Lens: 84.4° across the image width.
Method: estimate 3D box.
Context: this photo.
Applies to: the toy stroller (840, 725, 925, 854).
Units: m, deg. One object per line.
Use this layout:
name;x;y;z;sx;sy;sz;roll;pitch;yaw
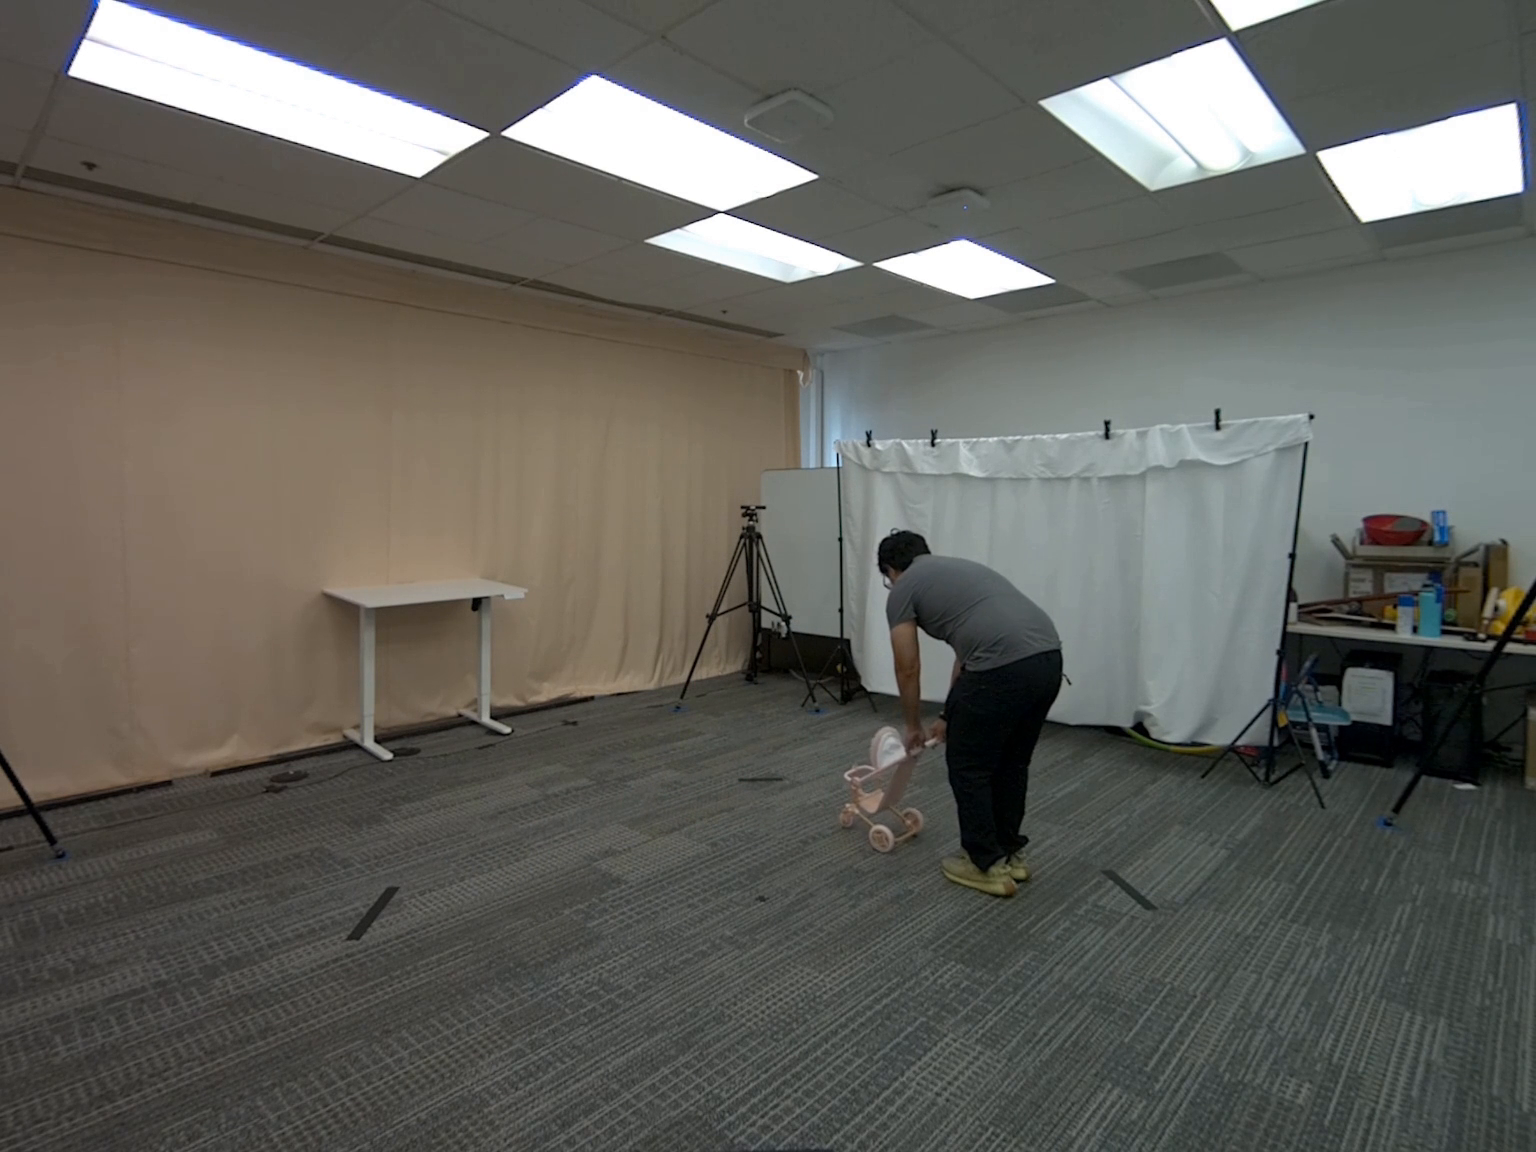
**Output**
toy stroller;0.485;0.869;3.514;0.273;0.532;0.354;-4;18;-45
